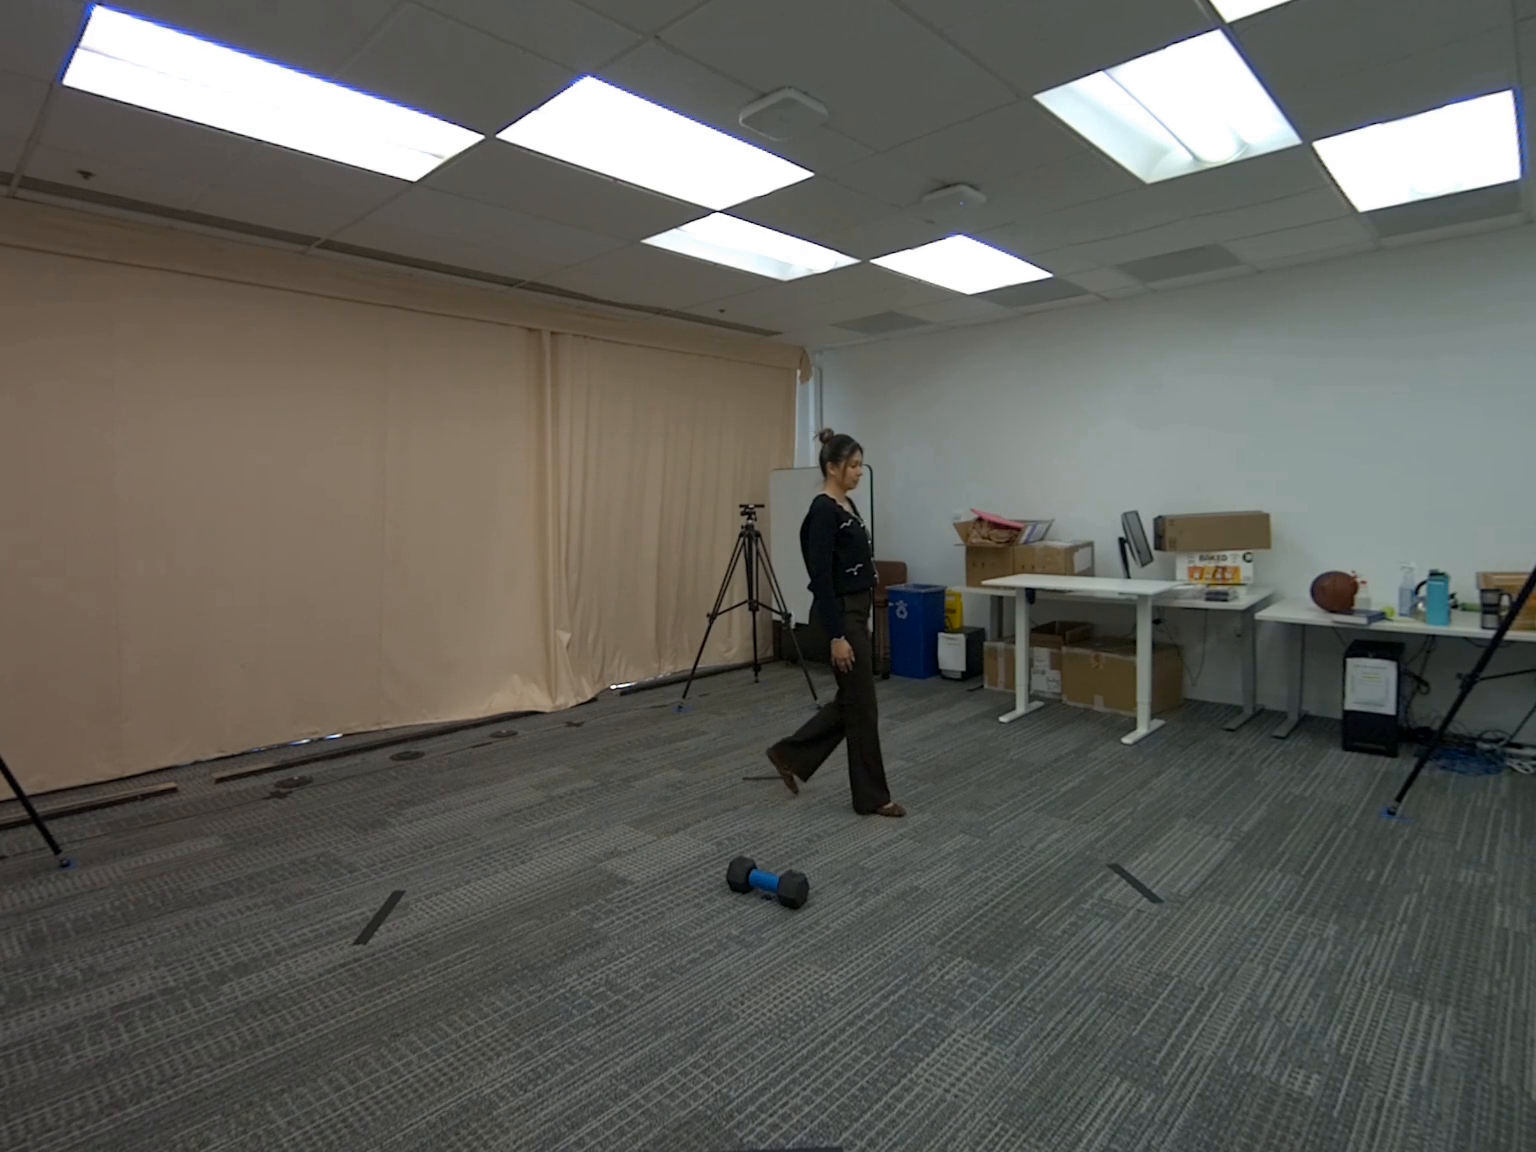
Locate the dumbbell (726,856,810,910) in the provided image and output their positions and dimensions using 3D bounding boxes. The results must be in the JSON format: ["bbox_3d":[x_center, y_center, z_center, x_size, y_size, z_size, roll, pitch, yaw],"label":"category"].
[{"bbox_3d":[0.000,1.085,2.981,0.303,0.120,0.108,2,33,34],"label":"dumbbell"}]
